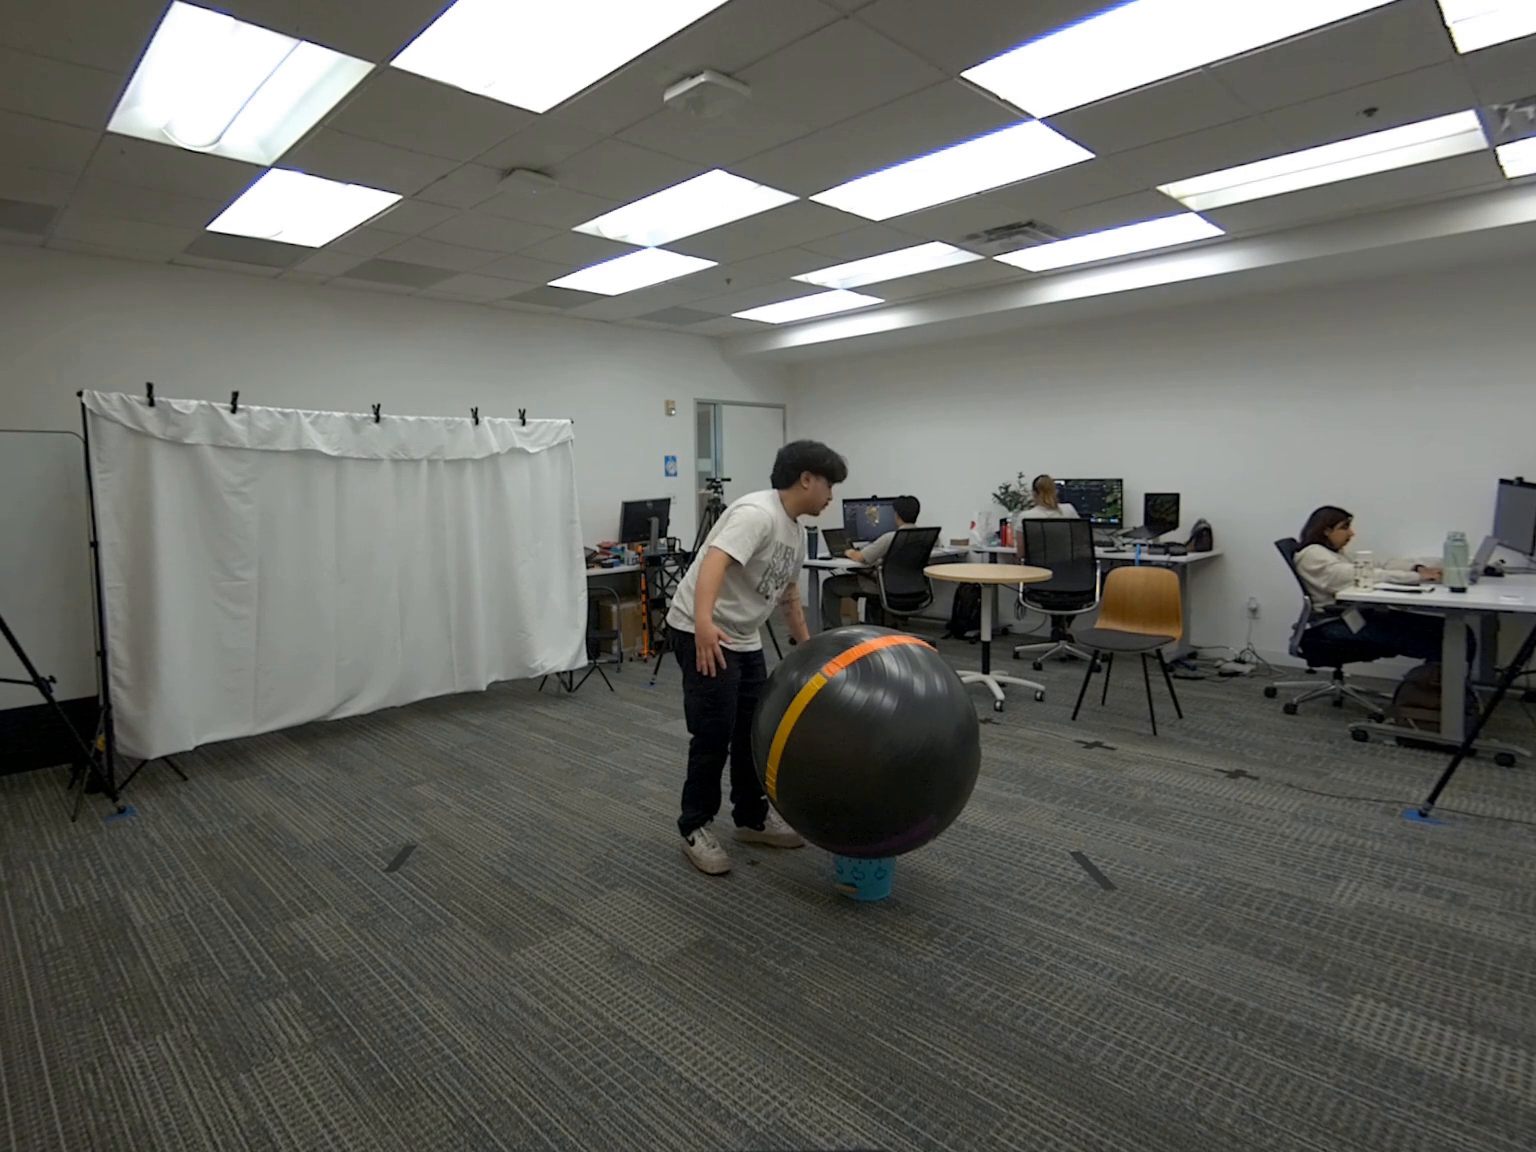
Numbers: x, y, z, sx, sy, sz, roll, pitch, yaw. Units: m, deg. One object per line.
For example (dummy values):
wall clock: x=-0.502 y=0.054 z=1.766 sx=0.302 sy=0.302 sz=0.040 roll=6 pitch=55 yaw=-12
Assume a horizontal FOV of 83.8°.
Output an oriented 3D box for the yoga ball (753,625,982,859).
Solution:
yoga ball: x=0.330 y=0.553 z=2.862 sx=0.757 sy=0.755 sz=0.762 roll=-1 pitch=5 yaw=-2
